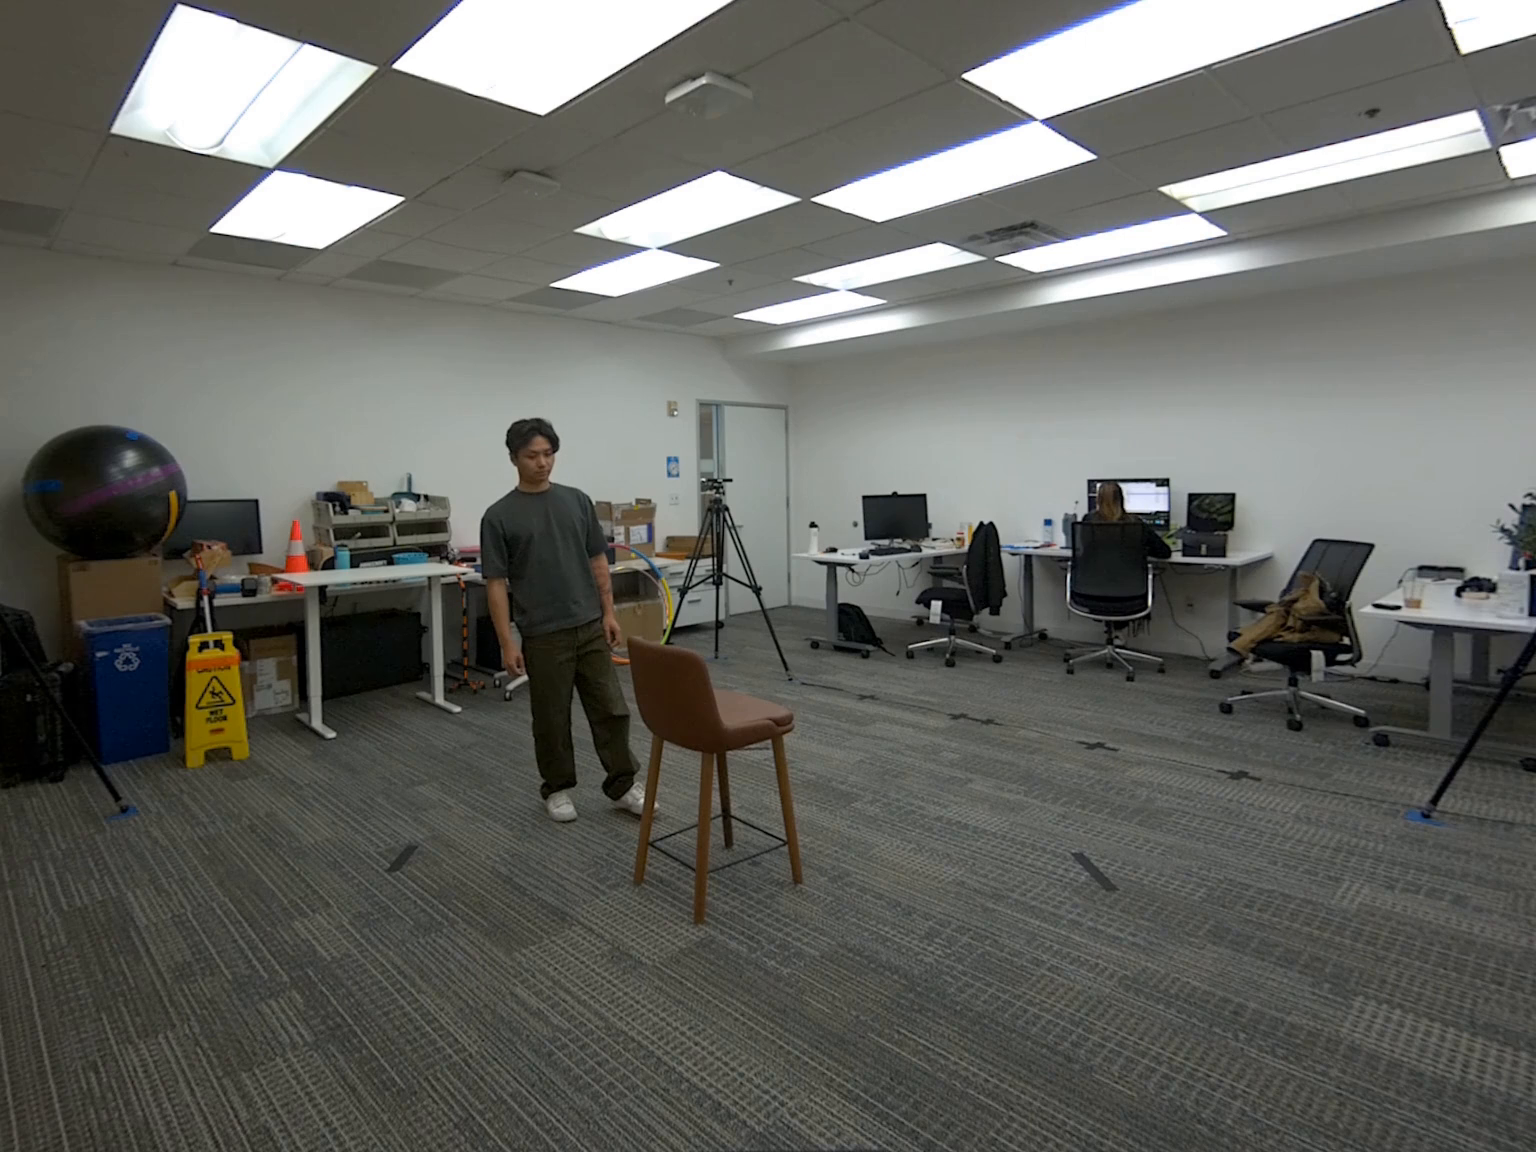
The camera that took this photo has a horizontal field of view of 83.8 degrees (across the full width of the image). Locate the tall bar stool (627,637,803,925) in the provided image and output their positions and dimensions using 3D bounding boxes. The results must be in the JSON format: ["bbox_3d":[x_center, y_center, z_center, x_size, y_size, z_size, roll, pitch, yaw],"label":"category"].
[{"bbox_3d":[-0.188,0.629,2.936,0.456,0.885,0.470,-7,7,-40],"label":"tall bar stool"}]
